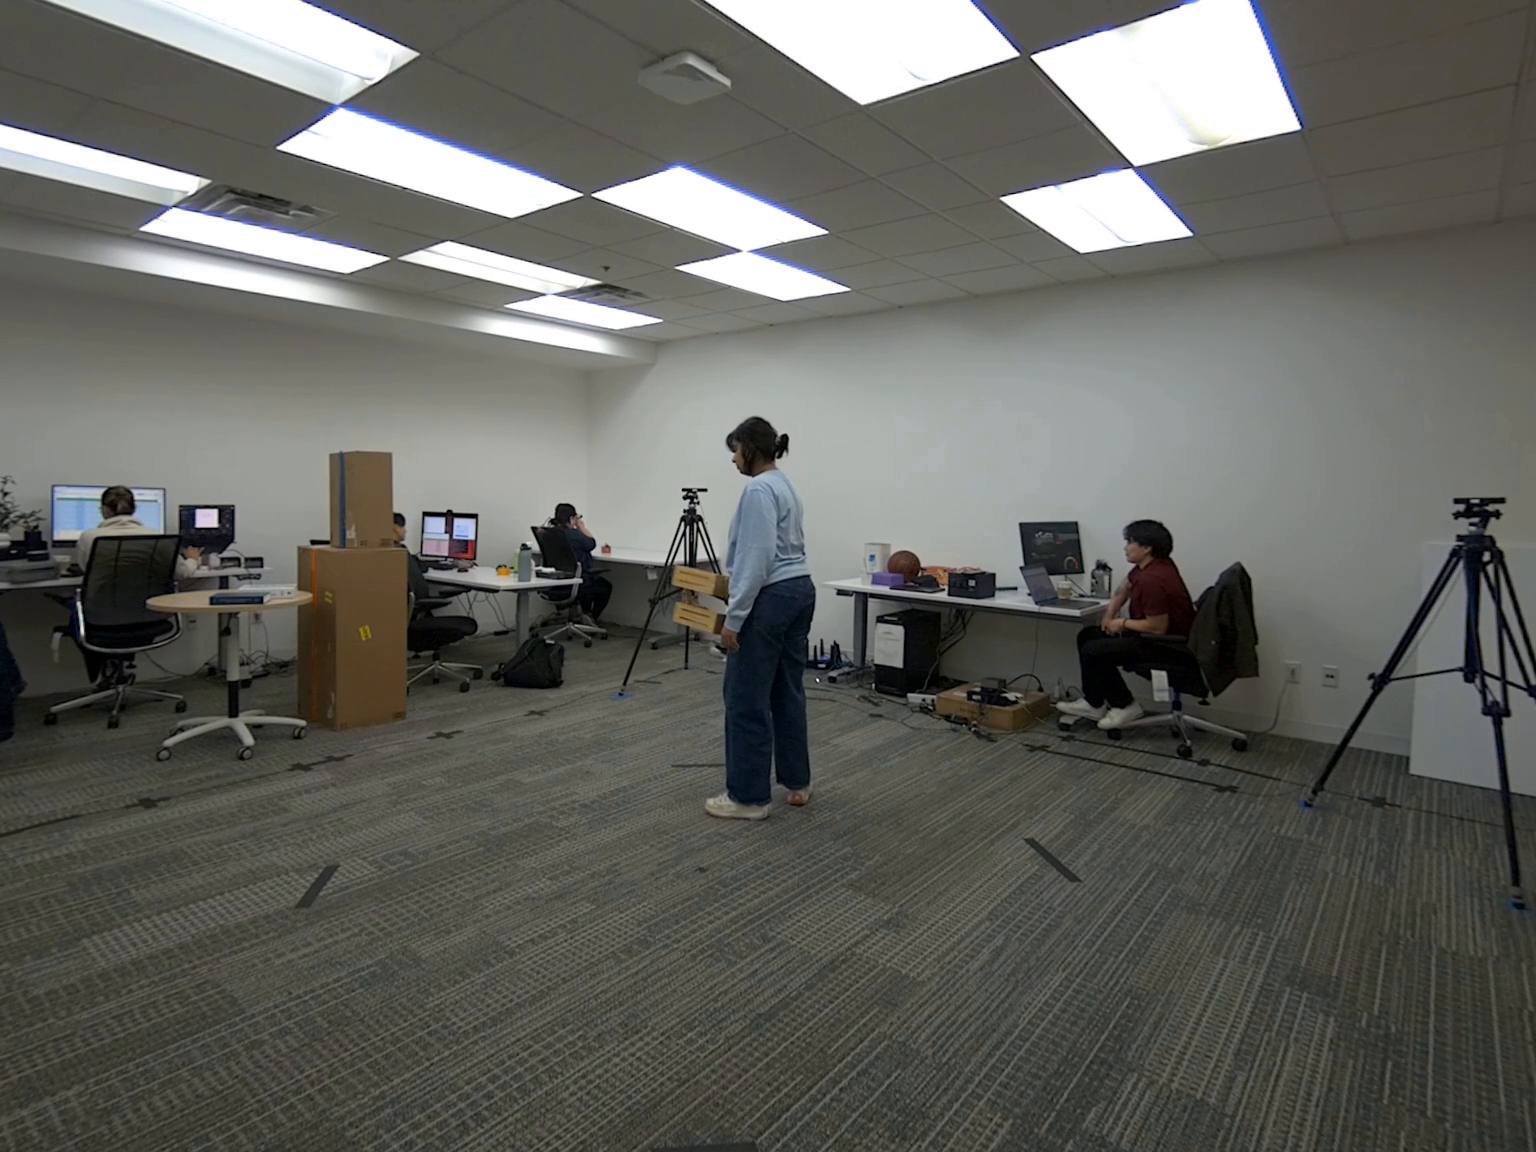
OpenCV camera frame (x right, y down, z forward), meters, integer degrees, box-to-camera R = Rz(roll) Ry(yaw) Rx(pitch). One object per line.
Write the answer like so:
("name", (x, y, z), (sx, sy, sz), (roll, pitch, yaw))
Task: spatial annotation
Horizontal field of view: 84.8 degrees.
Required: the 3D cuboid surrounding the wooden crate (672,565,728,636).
("wooden crate", (-0.257, 0.112, 3.927), (0.291, 0.273, 0.336), (13, -1, -43))
